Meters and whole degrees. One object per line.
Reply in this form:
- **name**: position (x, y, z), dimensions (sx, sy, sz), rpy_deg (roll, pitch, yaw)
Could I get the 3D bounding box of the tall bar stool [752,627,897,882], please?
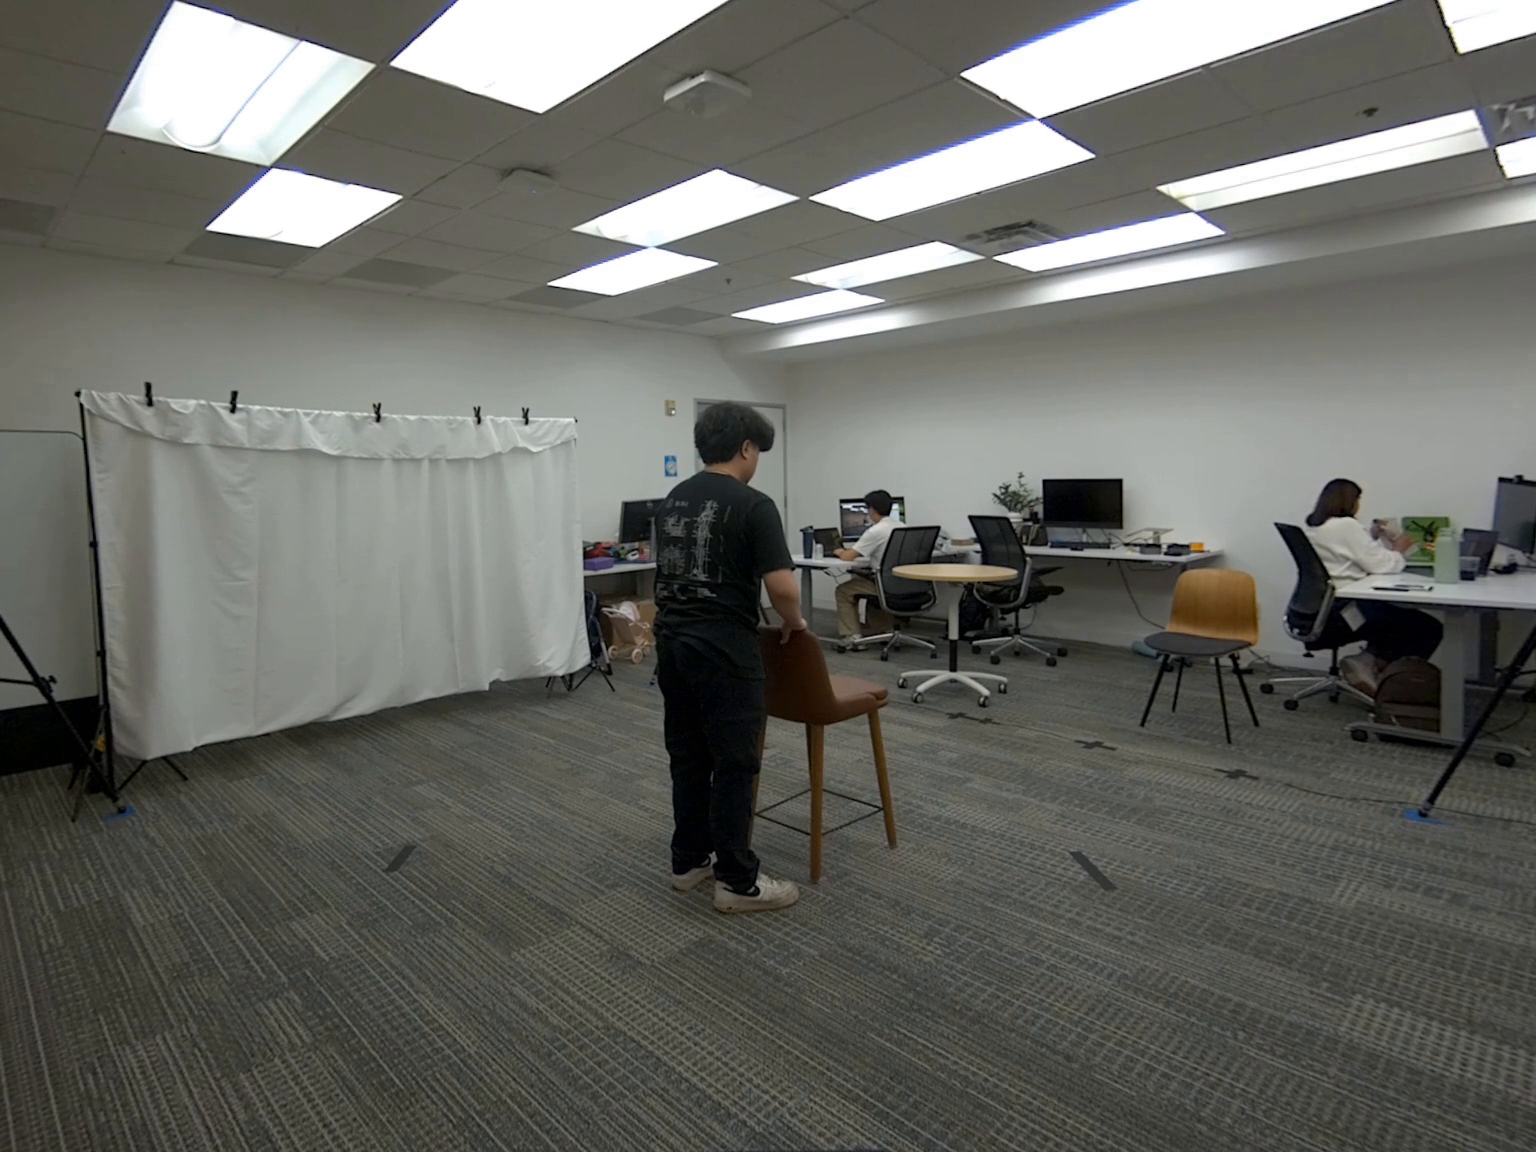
- **tall bar stool**: position (0.165, 0.588, 3.192), dimensions (0.456, 0.886, 0.470), rpy_deg (-7, 6, -43)
